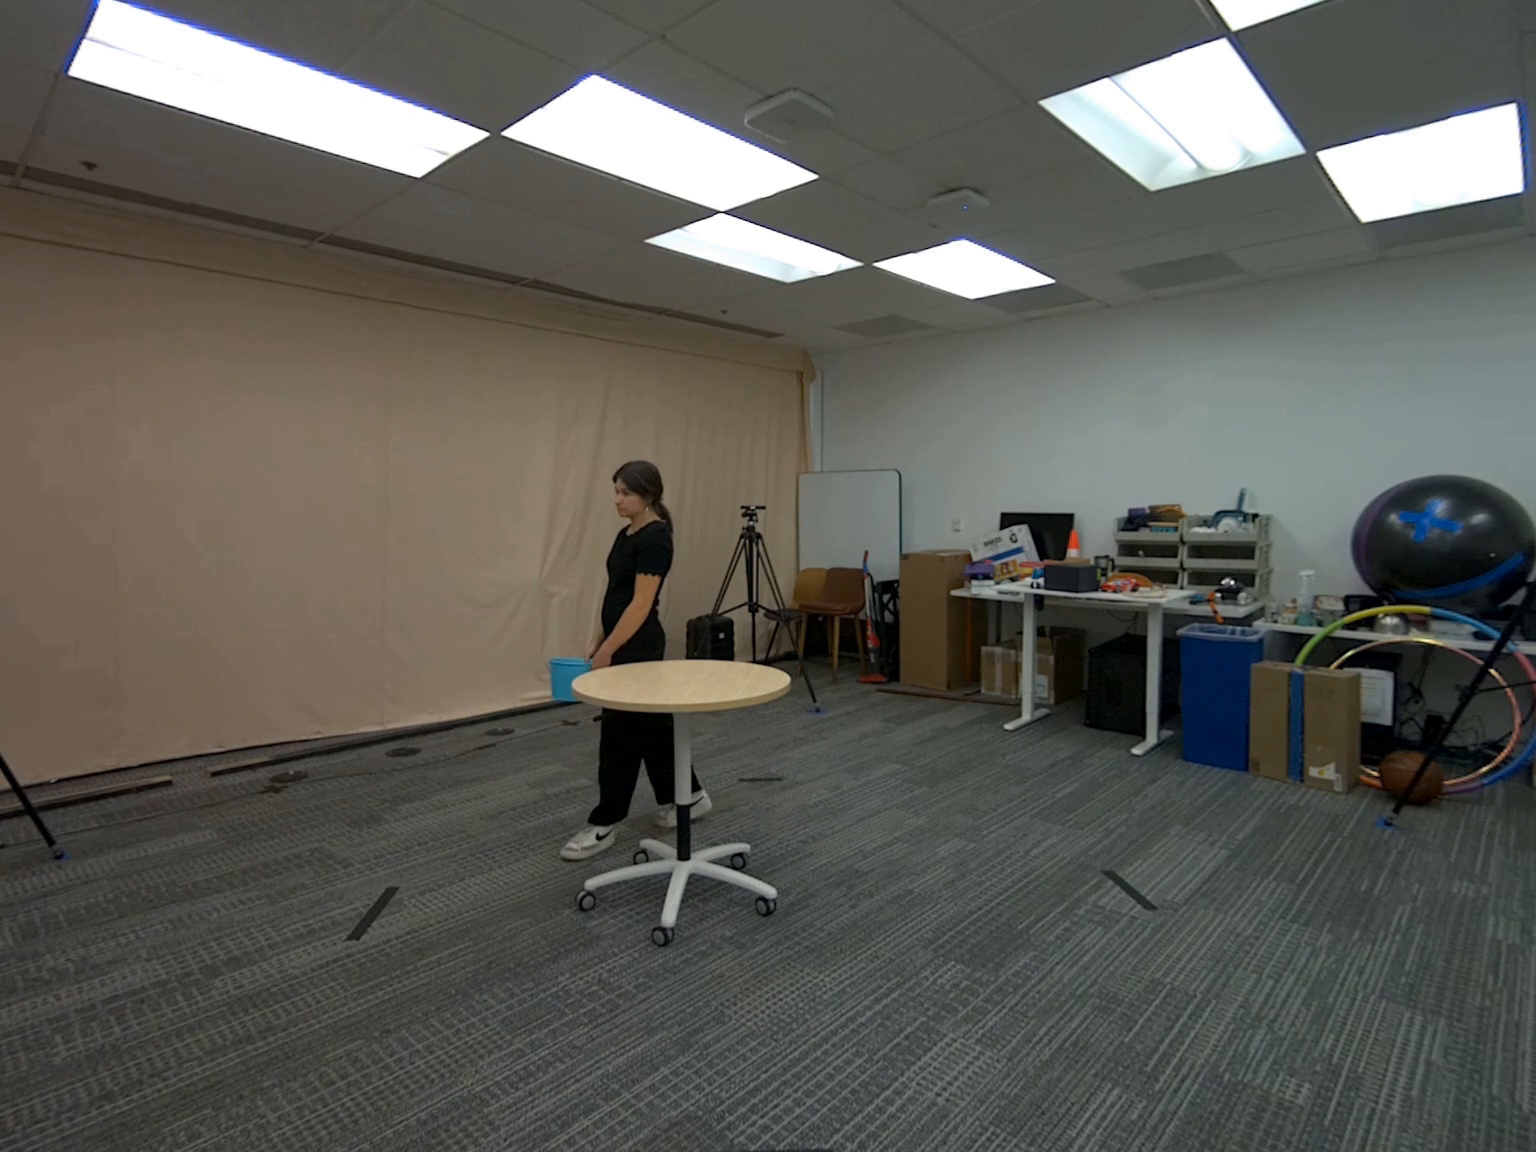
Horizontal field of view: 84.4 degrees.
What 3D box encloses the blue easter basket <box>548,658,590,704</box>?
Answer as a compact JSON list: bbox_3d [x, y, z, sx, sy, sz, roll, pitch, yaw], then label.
[{"bbox_3d":[-0.786,0.427,3.454,0.243,0.156,0.244,2,1,-2],"label":"blue easter basket"}]
